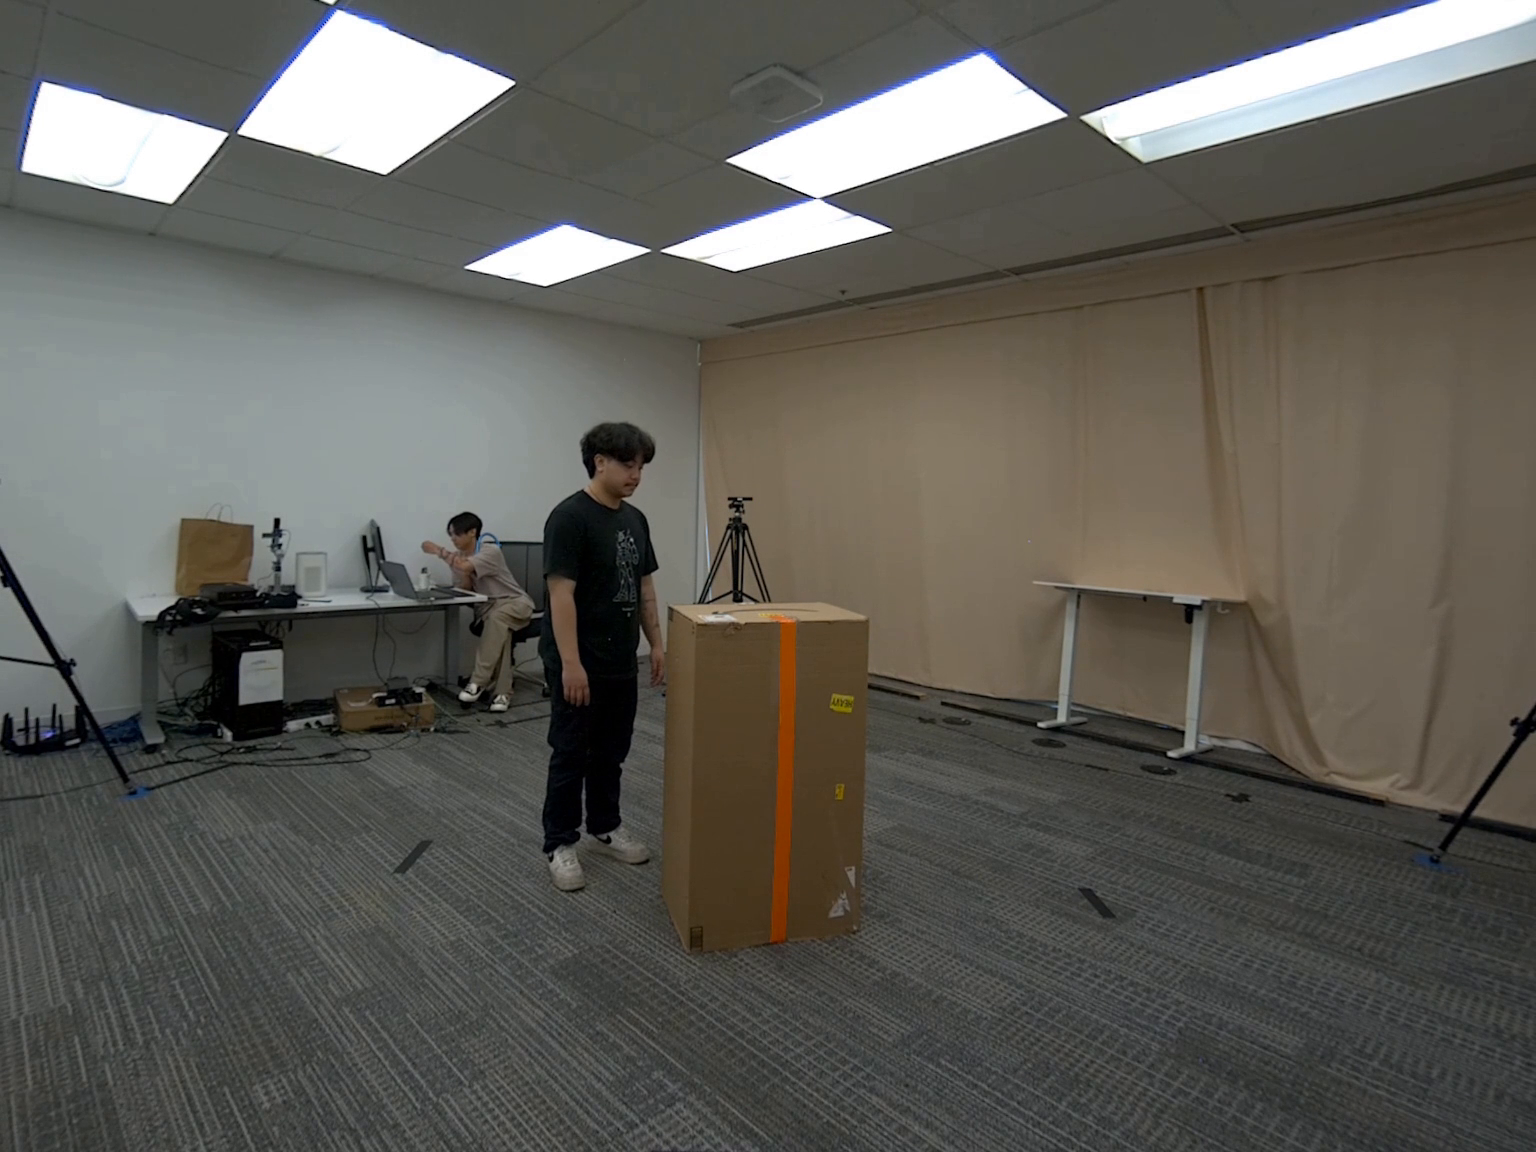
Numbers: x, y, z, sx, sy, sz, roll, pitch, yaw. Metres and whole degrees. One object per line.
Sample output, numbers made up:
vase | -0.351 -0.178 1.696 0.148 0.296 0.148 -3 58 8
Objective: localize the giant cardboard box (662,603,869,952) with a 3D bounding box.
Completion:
giant cardboard box | -0.031 0.624 2.813 0.576 1.024 0.454 0 4 -17
